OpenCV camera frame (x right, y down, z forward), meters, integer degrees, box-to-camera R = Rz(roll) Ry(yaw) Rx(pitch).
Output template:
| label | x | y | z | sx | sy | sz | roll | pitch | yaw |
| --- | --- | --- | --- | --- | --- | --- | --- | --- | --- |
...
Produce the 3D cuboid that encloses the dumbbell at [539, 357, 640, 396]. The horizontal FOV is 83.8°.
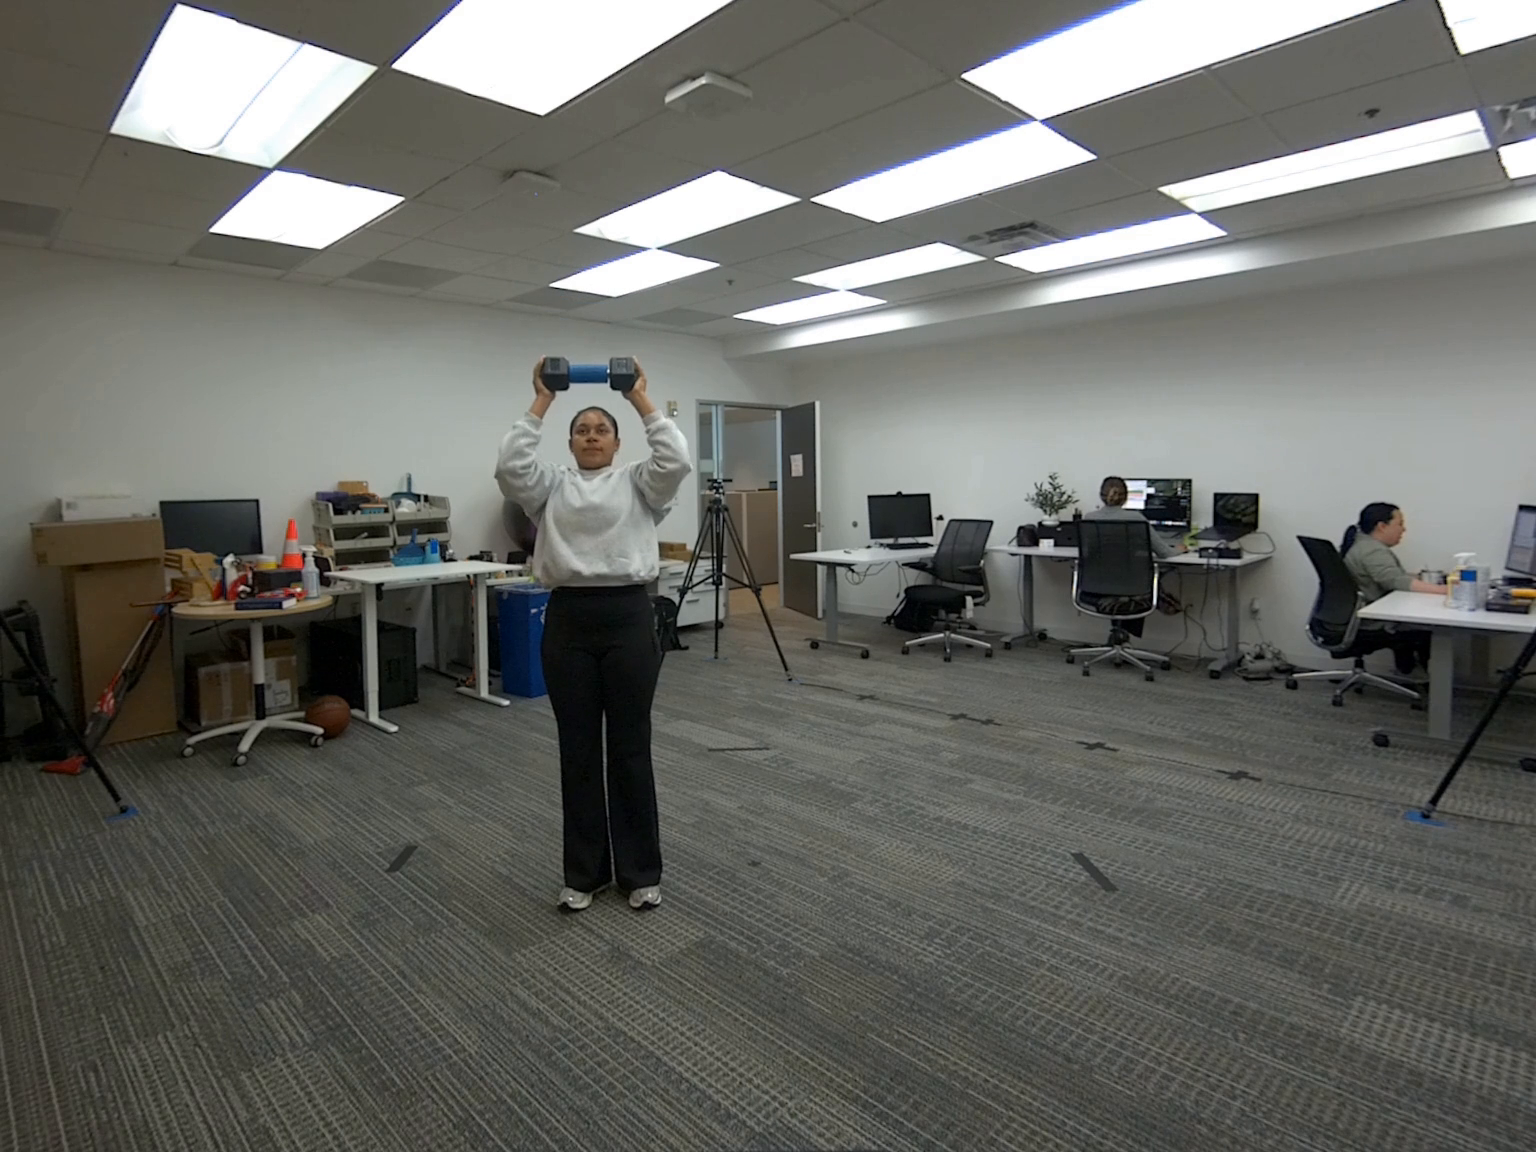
| label | x | y | z | sx | sy | sz | roll | pitch | yaw |
| --- | --- | --- | --- | --- | --- | --- | --- | --- | --- |
| dumbbell | -0.573 | -0.656 | 2.750 | 0.293 | 0.120 | 0.112 | -1 | 48 | -3 |
